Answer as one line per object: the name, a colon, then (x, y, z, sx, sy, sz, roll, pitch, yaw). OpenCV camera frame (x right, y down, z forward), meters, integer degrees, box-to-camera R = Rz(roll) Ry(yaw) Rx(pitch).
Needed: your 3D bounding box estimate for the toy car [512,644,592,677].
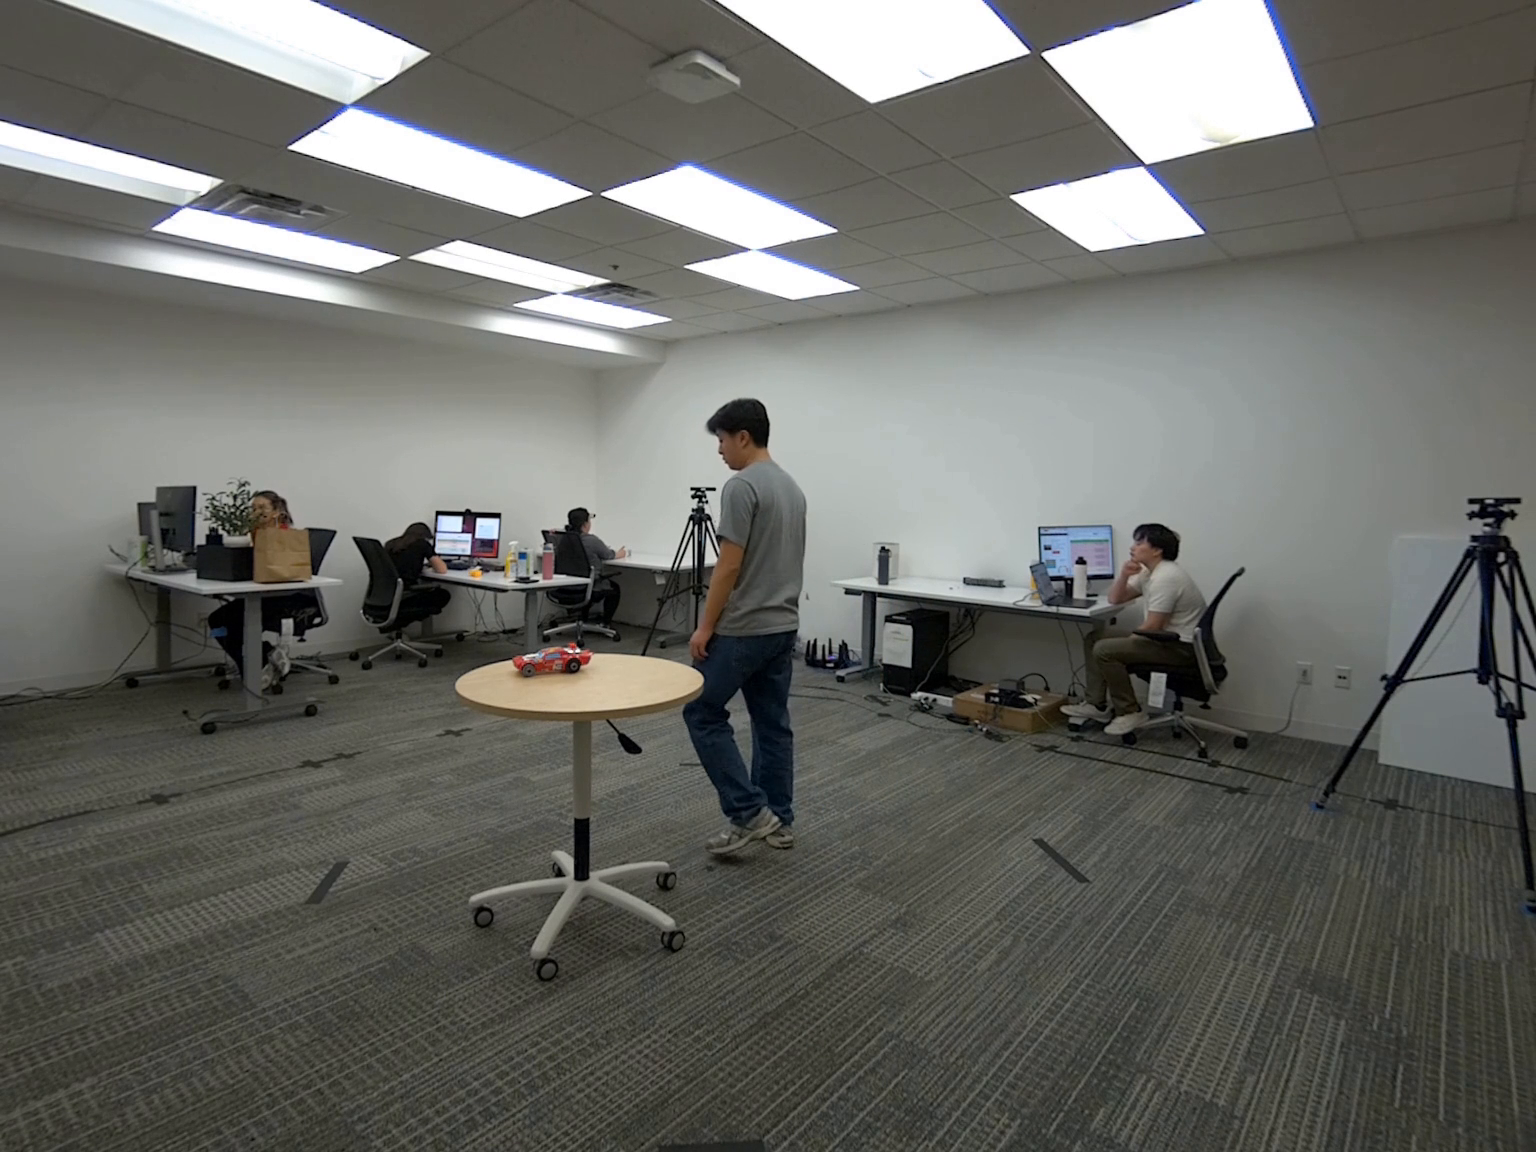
toy car: (-0.713, 0.278, 2.759, 0.250, 0.082, 0.134, -14, 10, -24)
